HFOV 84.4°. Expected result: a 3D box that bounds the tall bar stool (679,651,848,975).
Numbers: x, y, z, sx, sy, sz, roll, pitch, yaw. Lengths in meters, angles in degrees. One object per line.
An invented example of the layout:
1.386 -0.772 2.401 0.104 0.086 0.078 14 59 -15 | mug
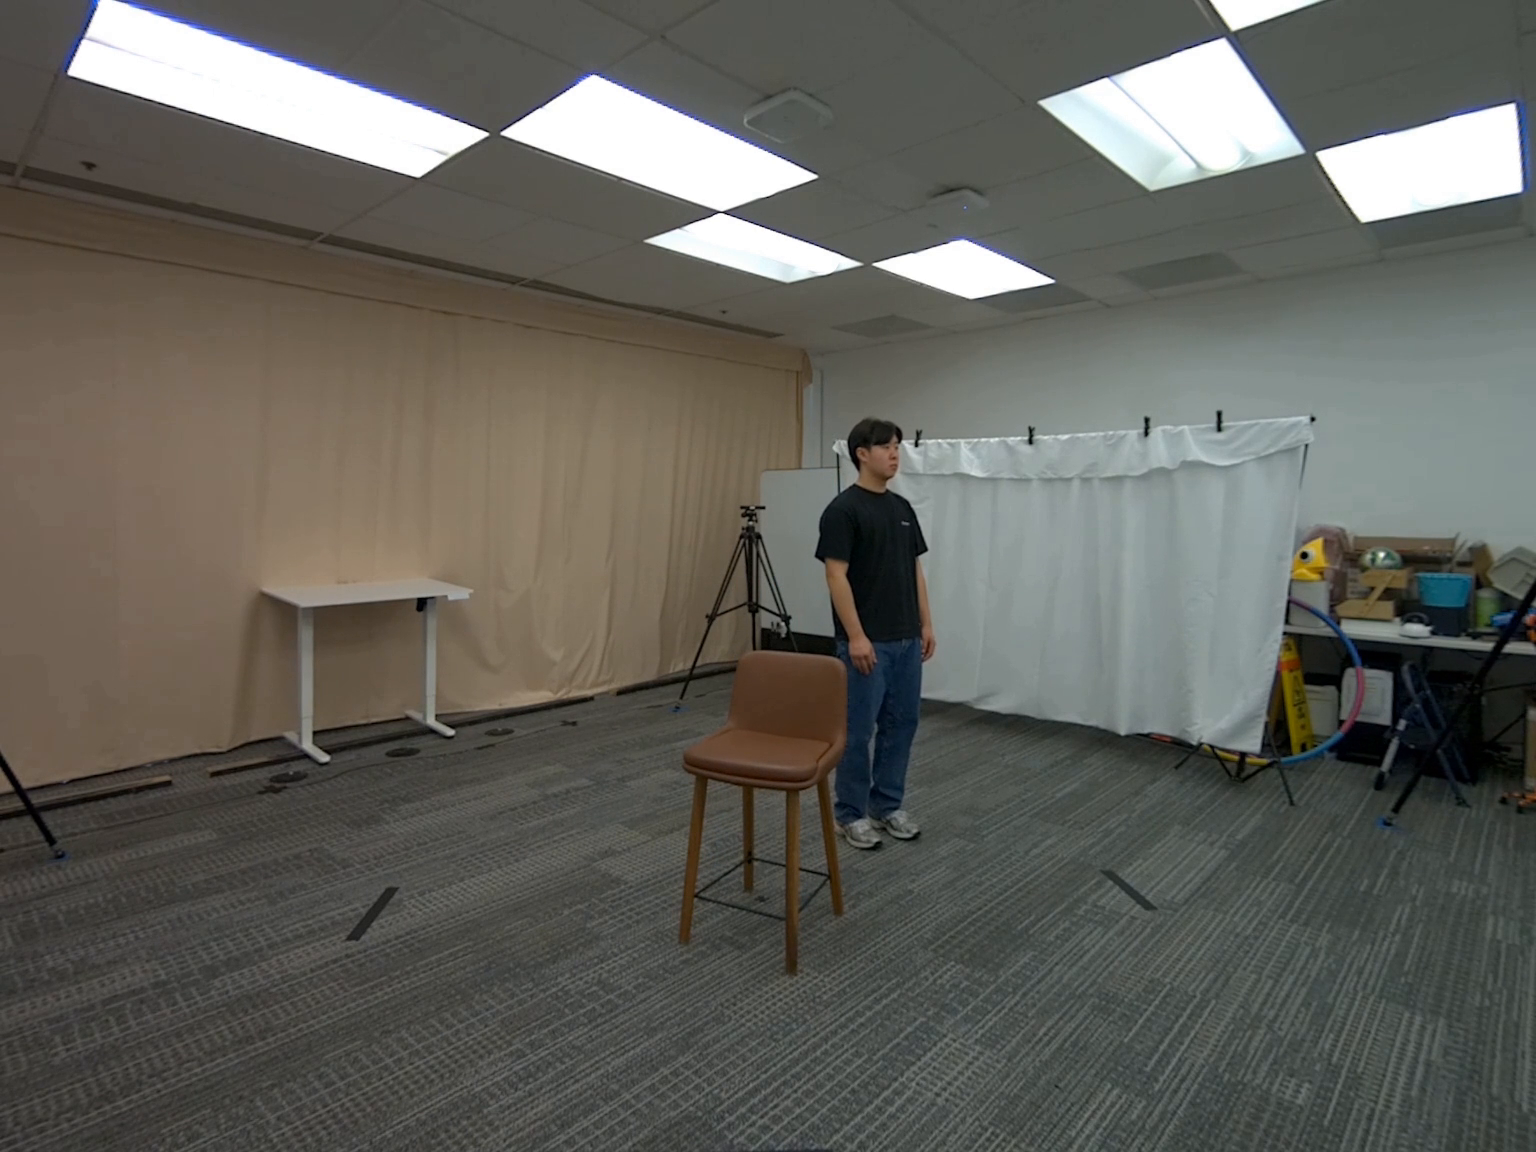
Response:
0.002 0.727 2.763 0.469 0.889 0.455 2 2 29 | tall bar stool
